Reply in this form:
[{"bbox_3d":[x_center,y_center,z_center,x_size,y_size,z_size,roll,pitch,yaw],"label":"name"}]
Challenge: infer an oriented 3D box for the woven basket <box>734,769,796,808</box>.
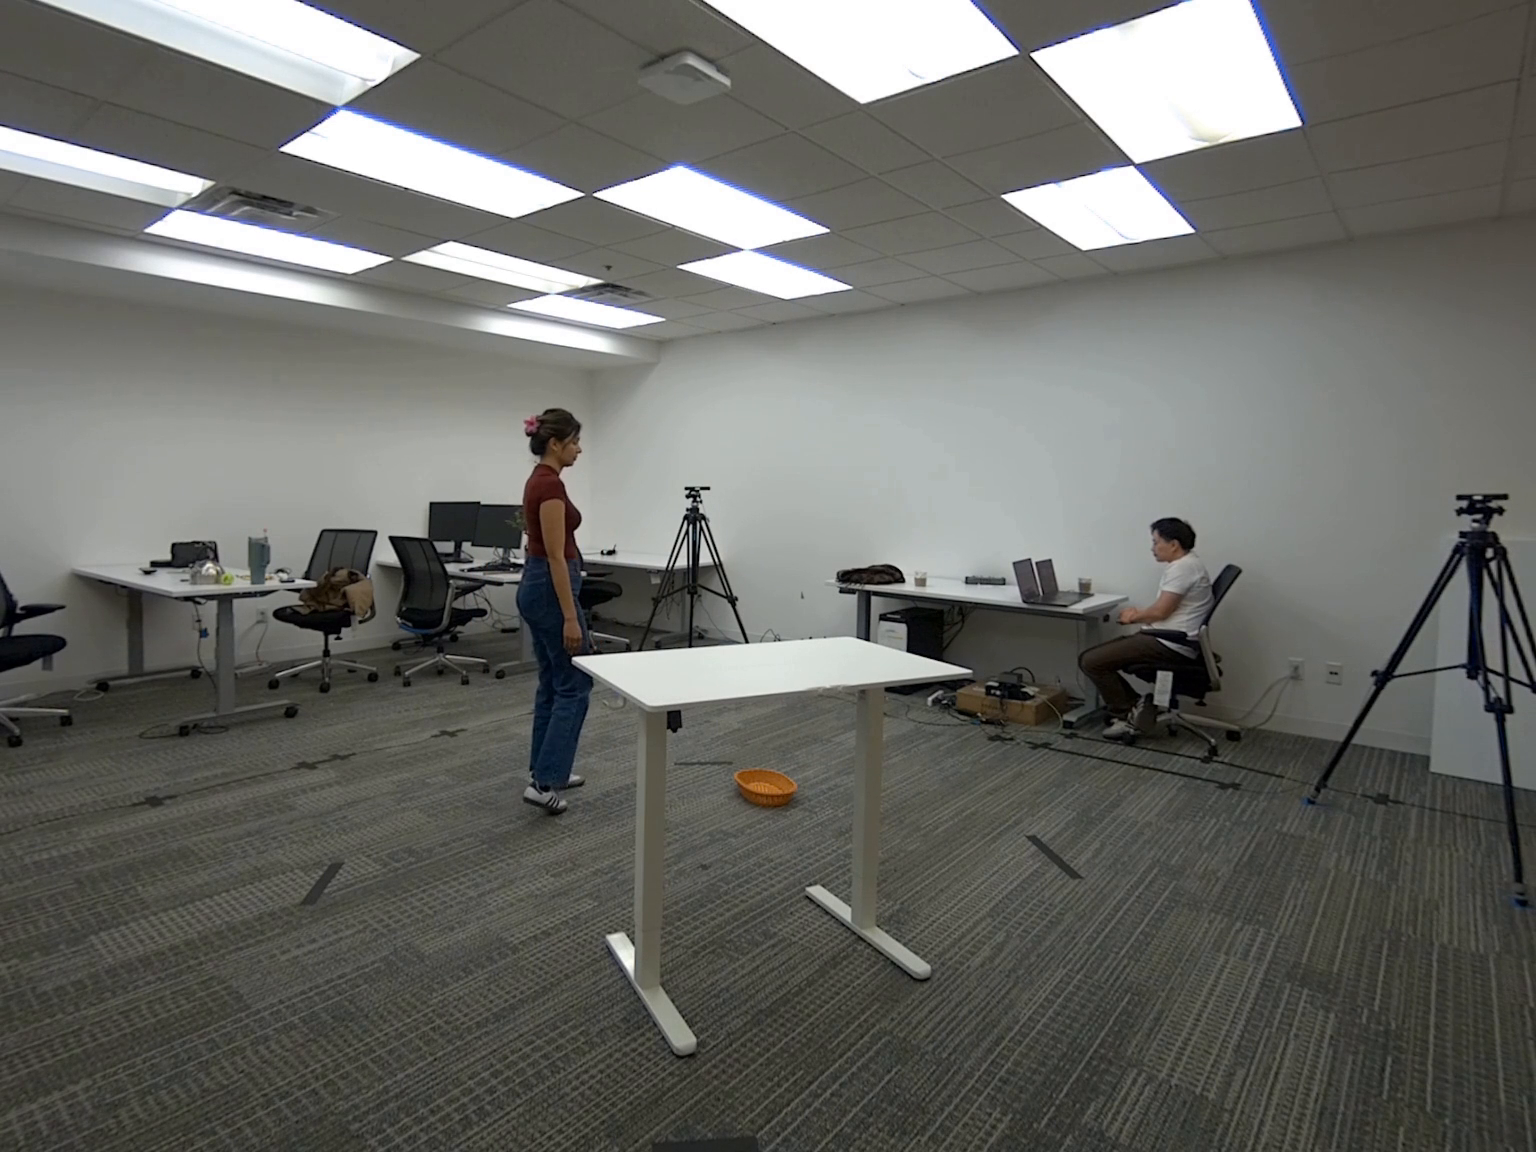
[{"bbox_3d":[-0.027,0.955,3.852,0.246,0.073,0.360,-1,6,-25],"label":"woven basket"}]
